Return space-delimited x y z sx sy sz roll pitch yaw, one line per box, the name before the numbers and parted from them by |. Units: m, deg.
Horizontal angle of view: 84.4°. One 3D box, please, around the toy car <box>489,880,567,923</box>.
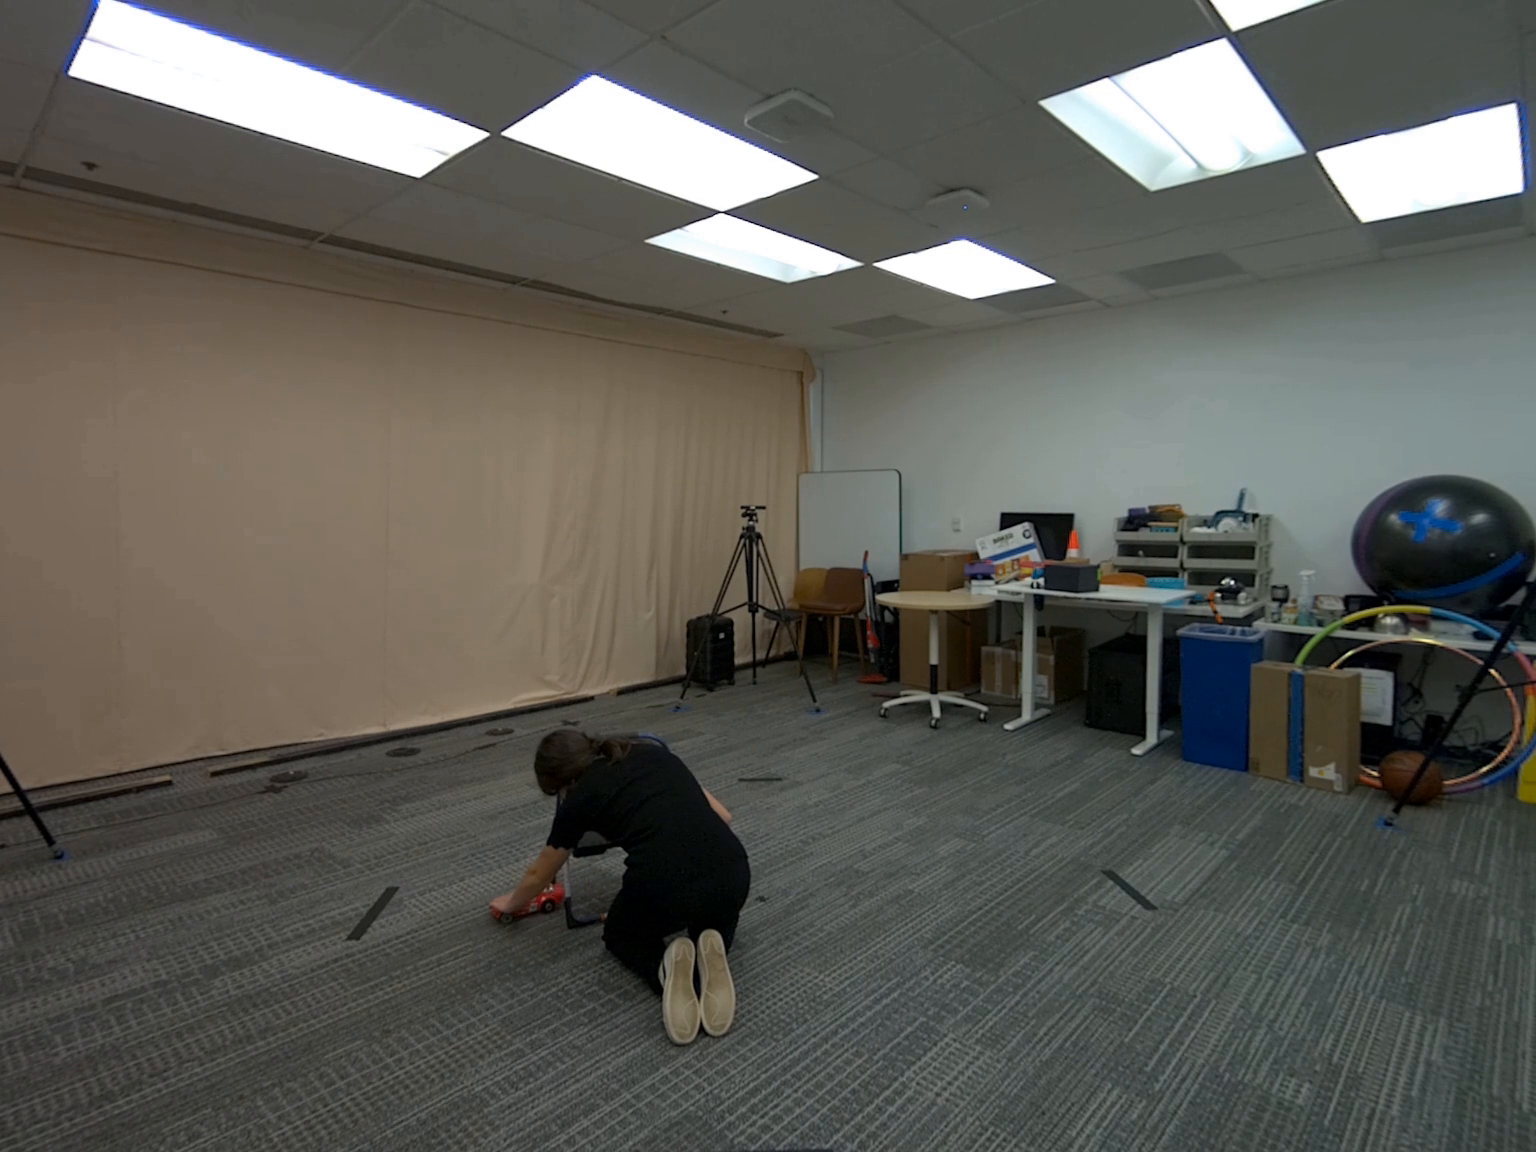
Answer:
toy car | -0.830 1.131 2.903 0.249 0.083 0.134 -16 10 -29
